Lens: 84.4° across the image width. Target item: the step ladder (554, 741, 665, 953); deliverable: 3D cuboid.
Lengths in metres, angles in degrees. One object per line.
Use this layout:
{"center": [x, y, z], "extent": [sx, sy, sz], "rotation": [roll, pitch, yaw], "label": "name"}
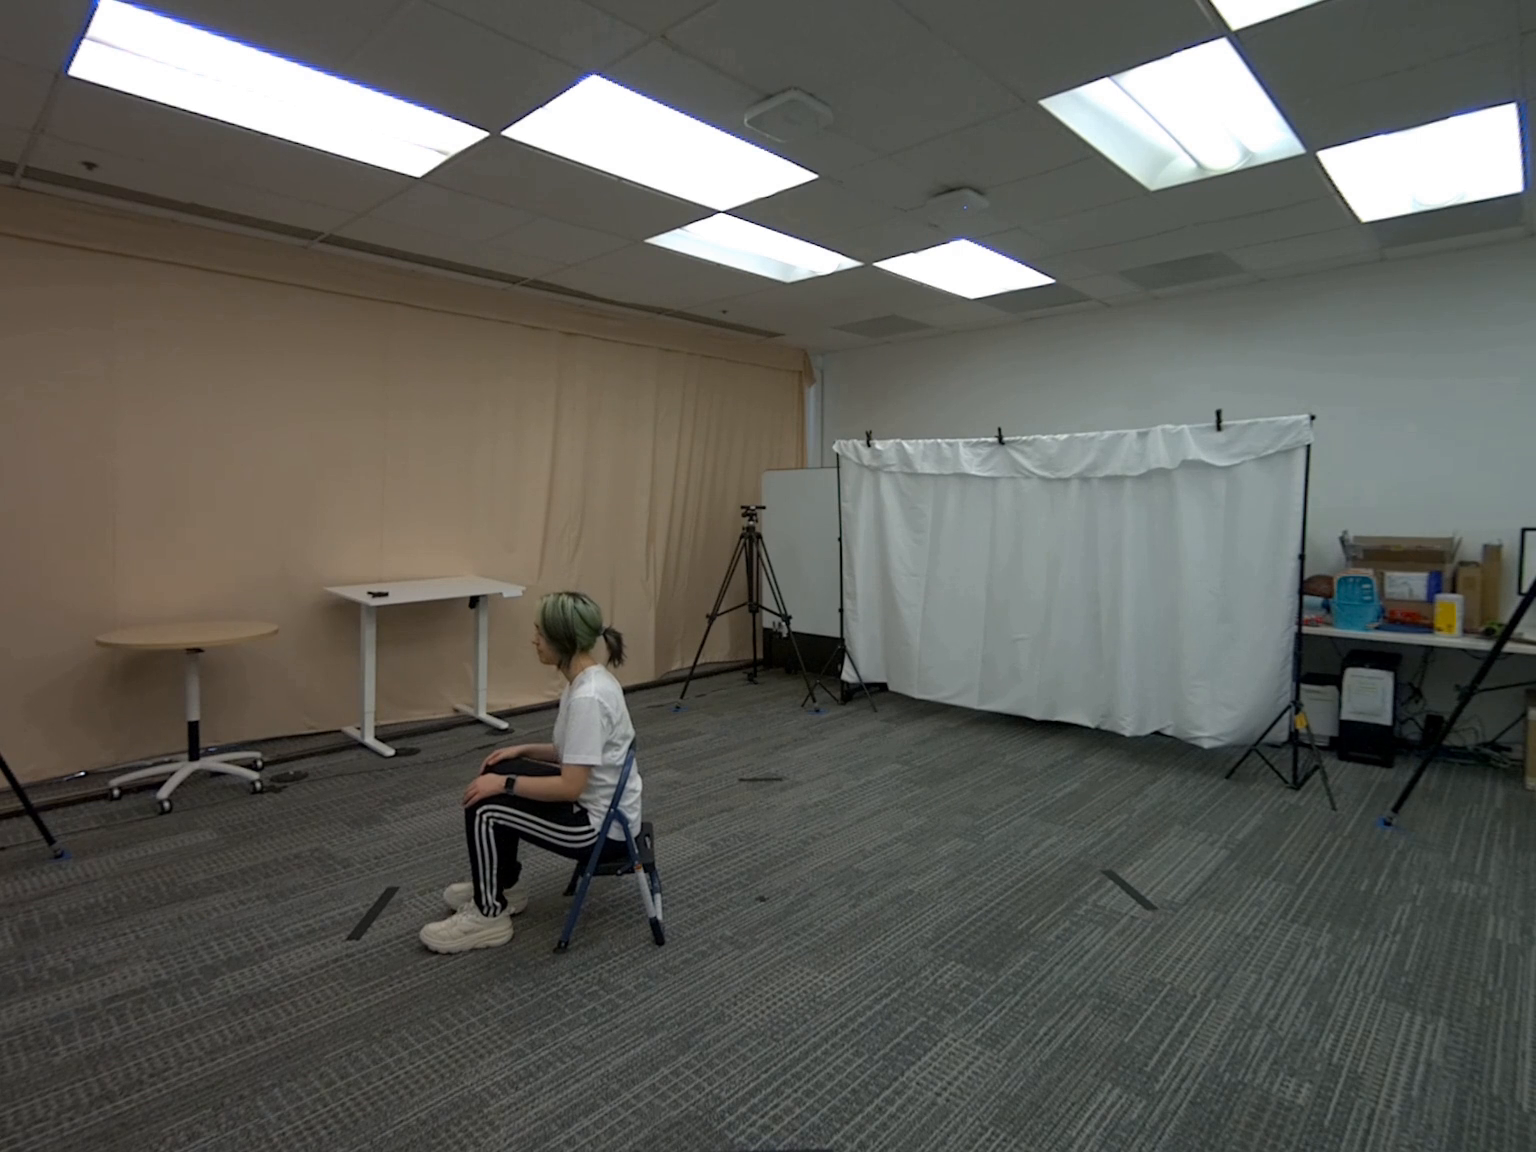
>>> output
{"center": [-0.531, 0.862, 2.835], "extent": [0.346, 0.605, 0.435], "rotation": [-1, 3, -9], "label": "step ladder"}
